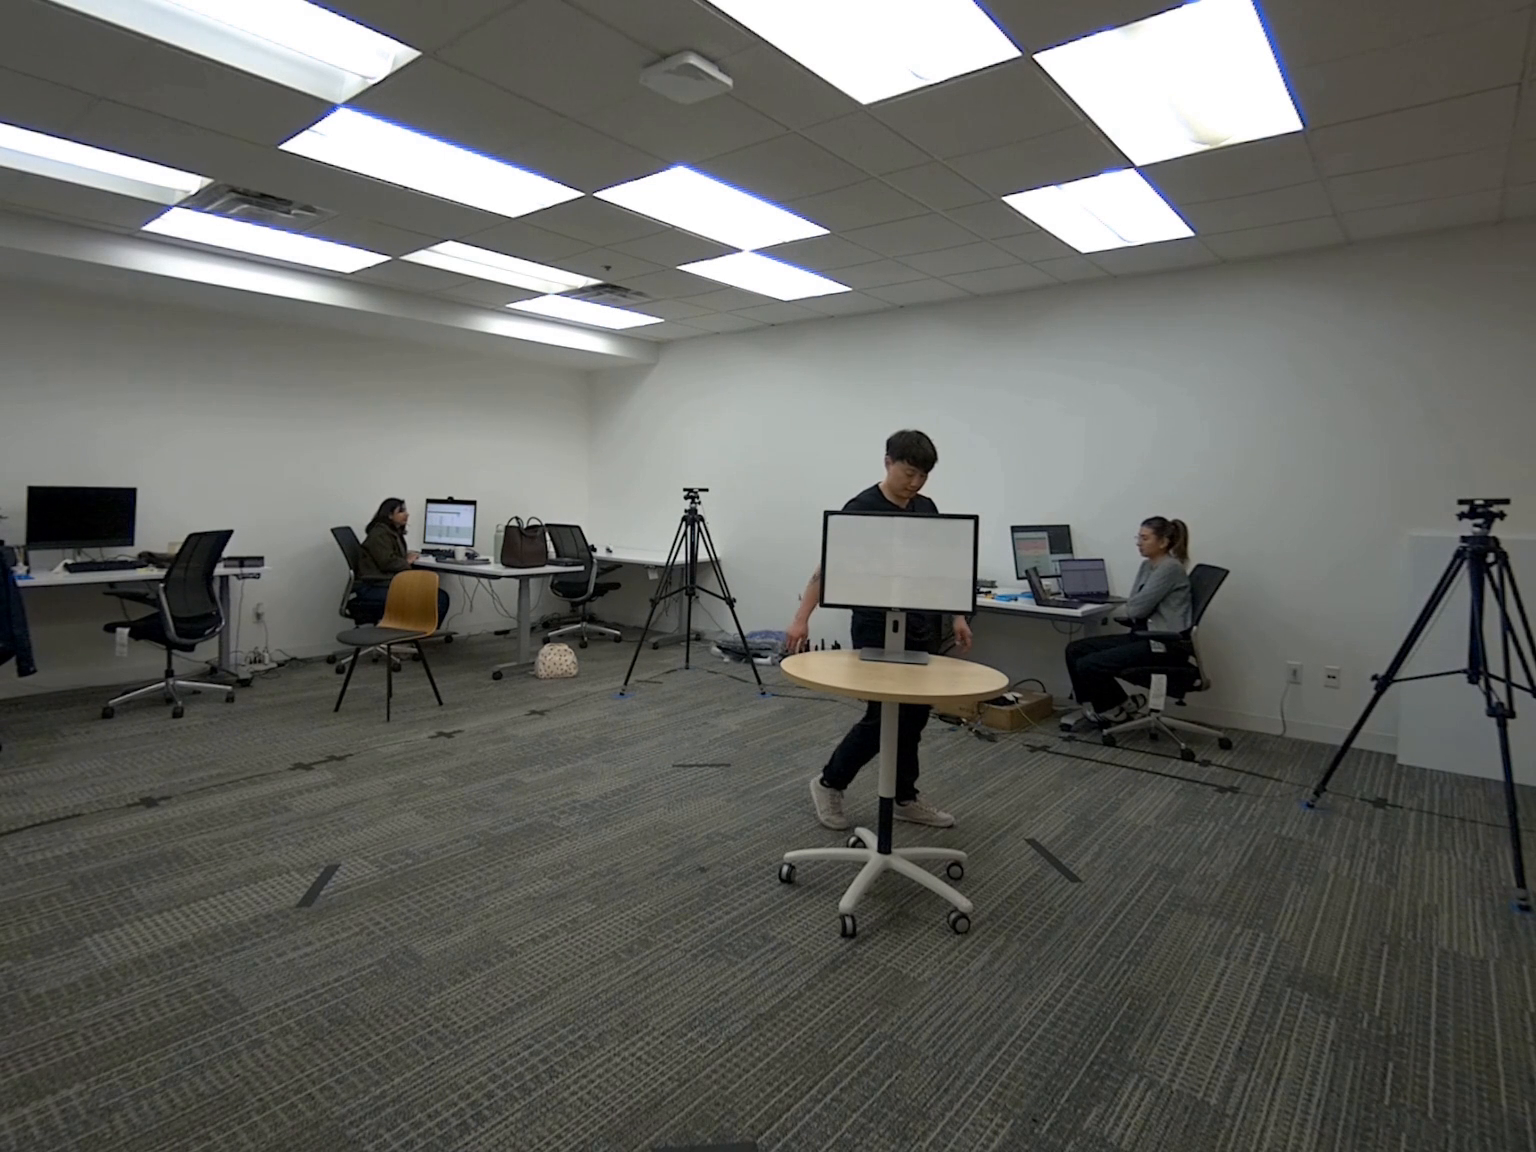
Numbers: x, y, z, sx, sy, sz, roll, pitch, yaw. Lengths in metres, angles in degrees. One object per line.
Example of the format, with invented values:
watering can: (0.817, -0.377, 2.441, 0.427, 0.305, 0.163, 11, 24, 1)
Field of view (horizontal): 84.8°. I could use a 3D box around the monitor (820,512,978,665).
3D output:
monitor: (0.468, 0.035, 3.147, 0.546, 0.520, 0.185, 3, 4, 12)
